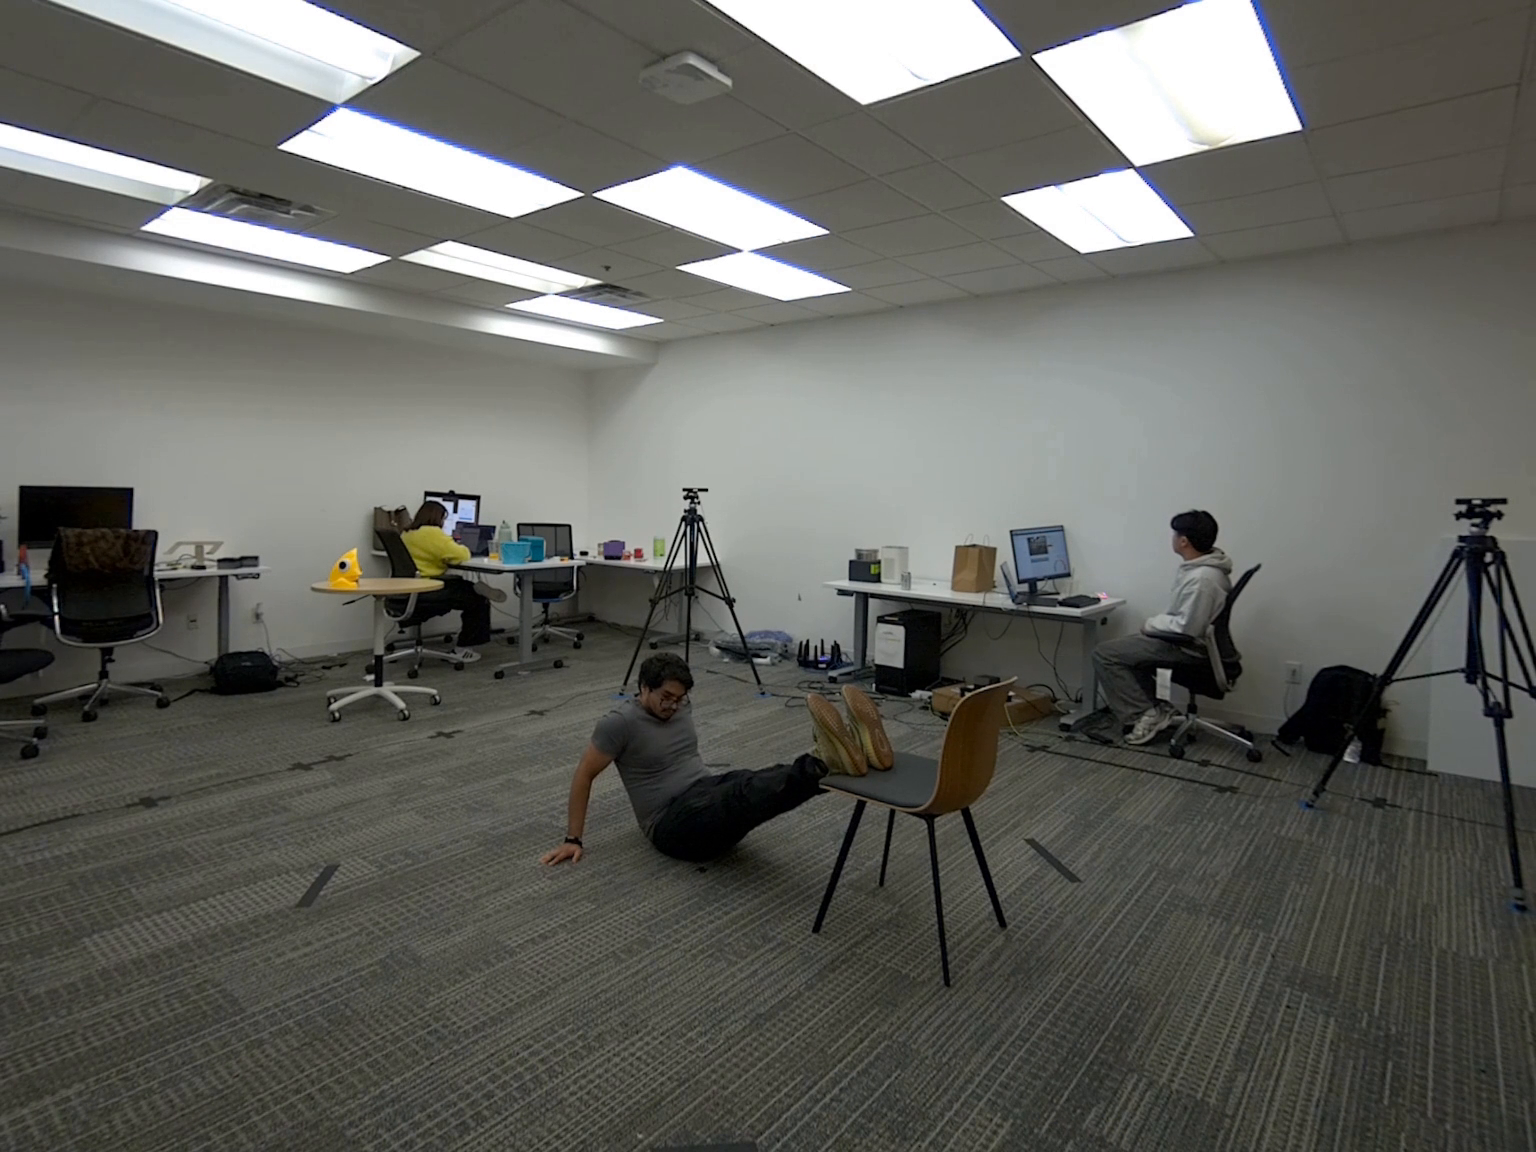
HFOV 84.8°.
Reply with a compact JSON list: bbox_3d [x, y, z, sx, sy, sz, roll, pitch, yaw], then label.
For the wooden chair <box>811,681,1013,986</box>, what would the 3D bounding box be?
[{"bbox_3d":[0.454,0.701,2.690,0.541,0.873,0.464,9,7,37],"label":"wooden chair"}]
